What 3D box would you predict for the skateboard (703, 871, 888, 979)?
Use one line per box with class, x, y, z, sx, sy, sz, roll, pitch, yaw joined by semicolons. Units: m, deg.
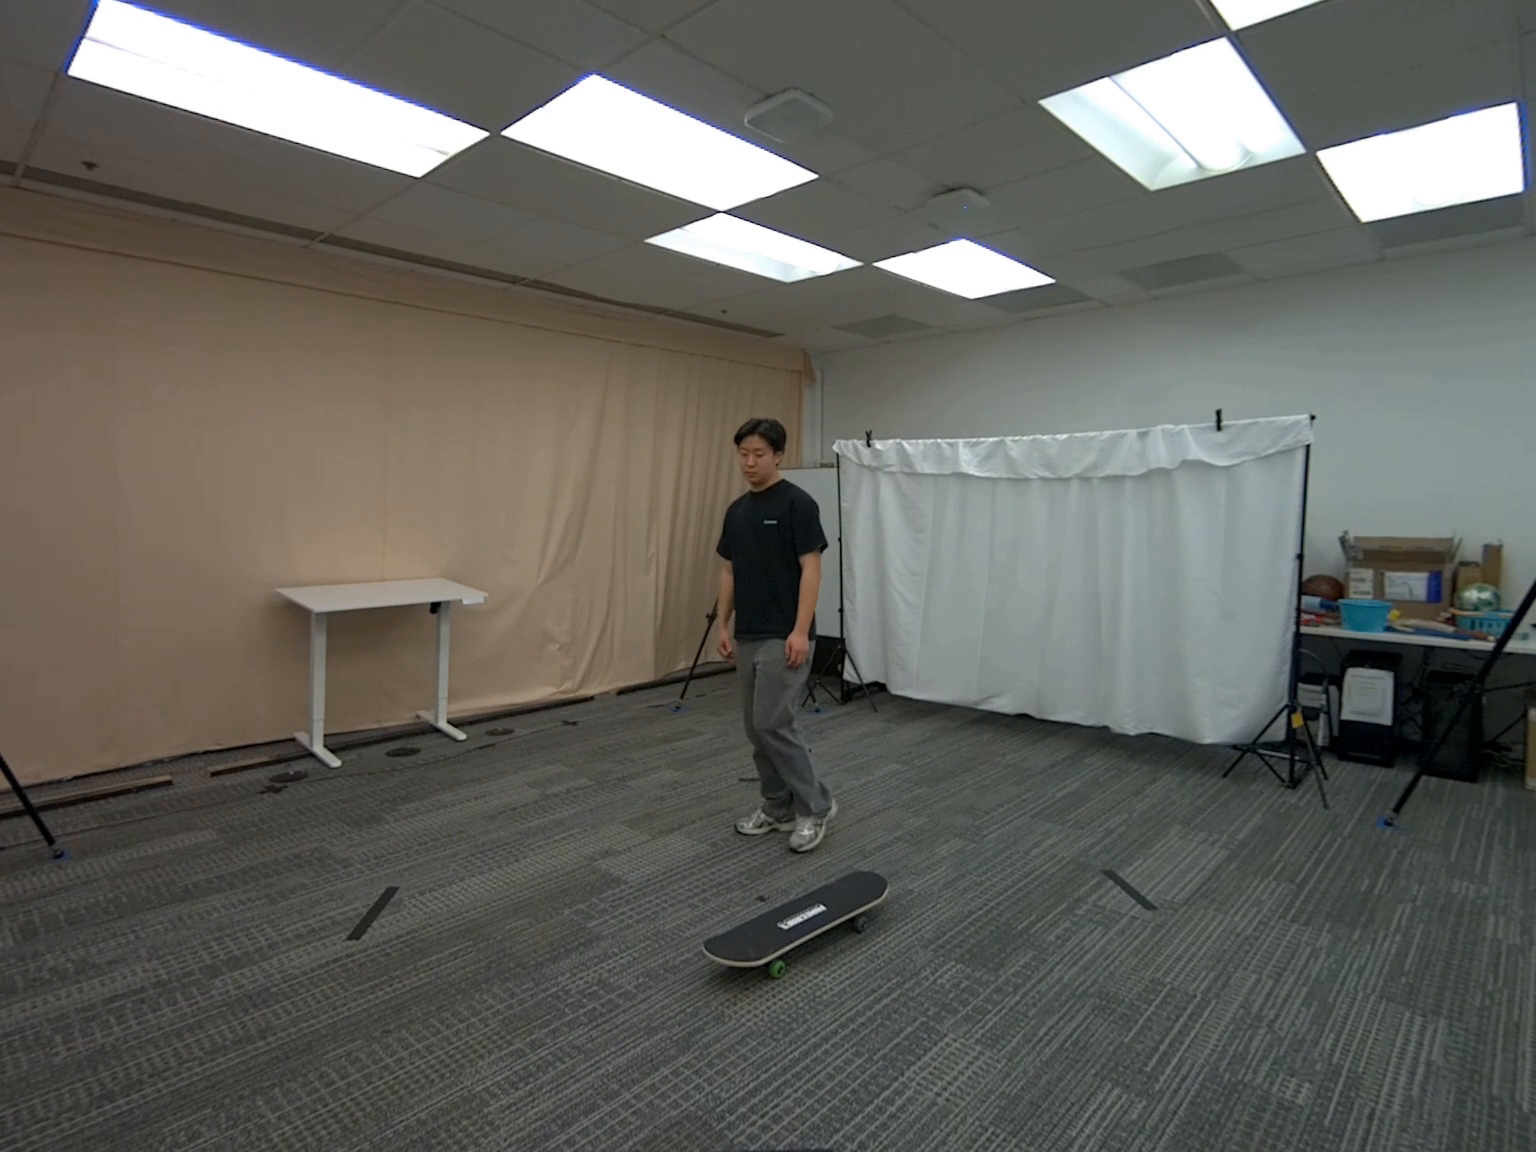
skateboard;0.107;1.113;2.674;0.761;0.110;0.200;-5;6;-44
